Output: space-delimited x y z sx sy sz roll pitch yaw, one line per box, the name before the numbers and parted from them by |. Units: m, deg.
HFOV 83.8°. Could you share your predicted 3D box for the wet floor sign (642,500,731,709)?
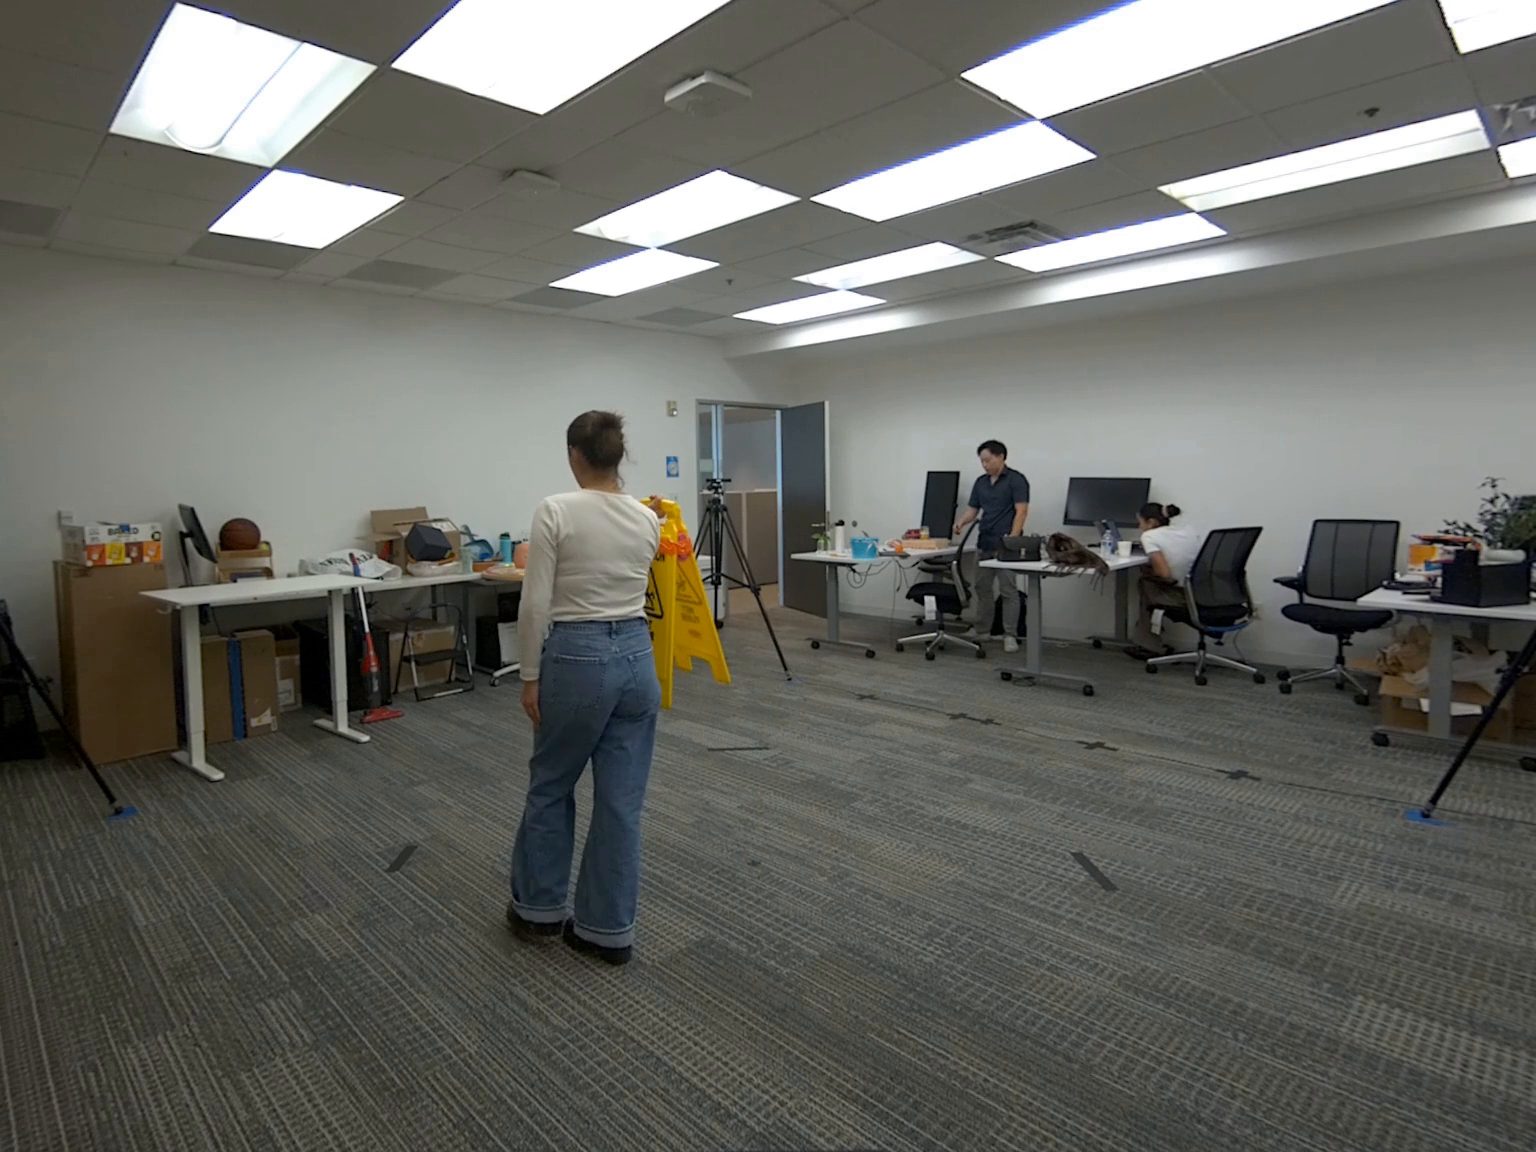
wet floor sign | -0.338 0.071 2.841 0.283 0.640 0.291 -15 14 -43
